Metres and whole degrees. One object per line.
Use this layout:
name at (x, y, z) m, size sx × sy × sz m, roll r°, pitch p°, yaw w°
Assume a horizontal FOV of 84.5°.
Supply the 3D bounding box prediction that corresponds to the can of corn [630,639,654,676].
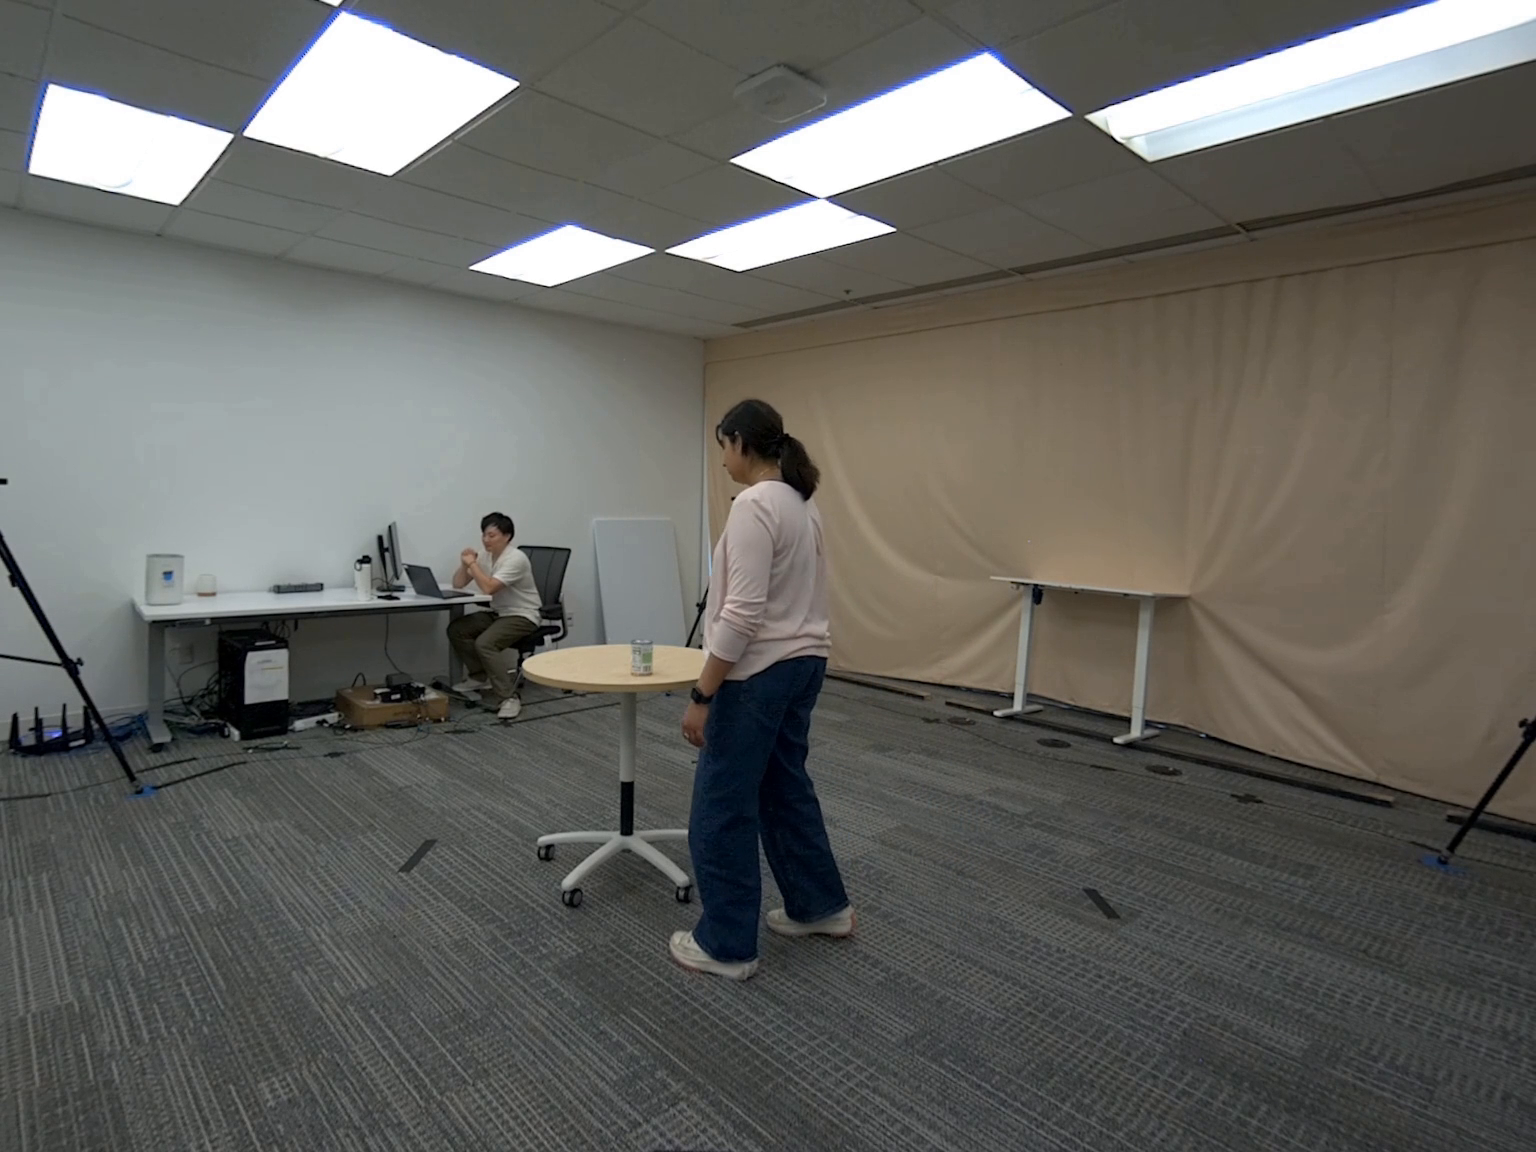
can of corn at (-0.438, 0.279, 2.867) m, size 0.074 × 0.110 × 0.074 m, roll 1°, pitch 6°, yaw -1°
